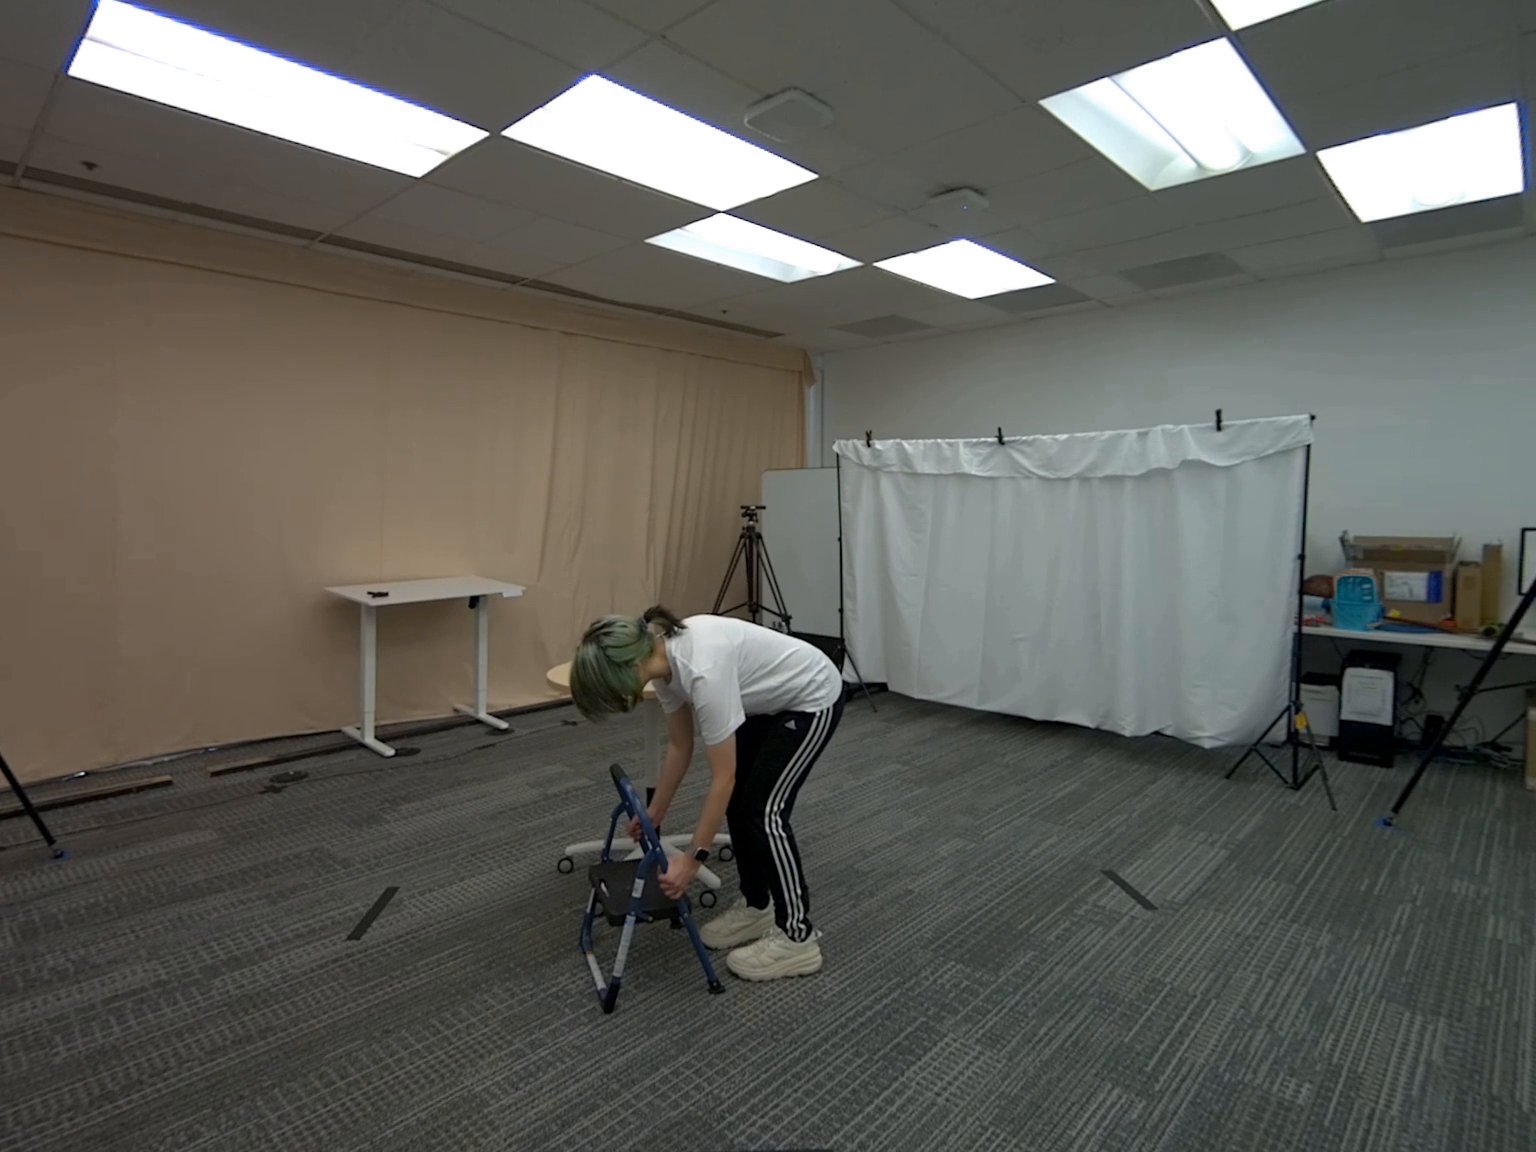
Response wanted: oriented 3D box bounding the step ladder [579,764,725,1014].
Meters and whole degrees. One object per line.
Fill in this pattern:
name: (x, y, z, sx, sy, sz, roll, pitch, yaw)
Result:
step ladder: (-0.366, 0.888, 2.535, 0.342, 0.604, 0.441, -2, 5, -22)
